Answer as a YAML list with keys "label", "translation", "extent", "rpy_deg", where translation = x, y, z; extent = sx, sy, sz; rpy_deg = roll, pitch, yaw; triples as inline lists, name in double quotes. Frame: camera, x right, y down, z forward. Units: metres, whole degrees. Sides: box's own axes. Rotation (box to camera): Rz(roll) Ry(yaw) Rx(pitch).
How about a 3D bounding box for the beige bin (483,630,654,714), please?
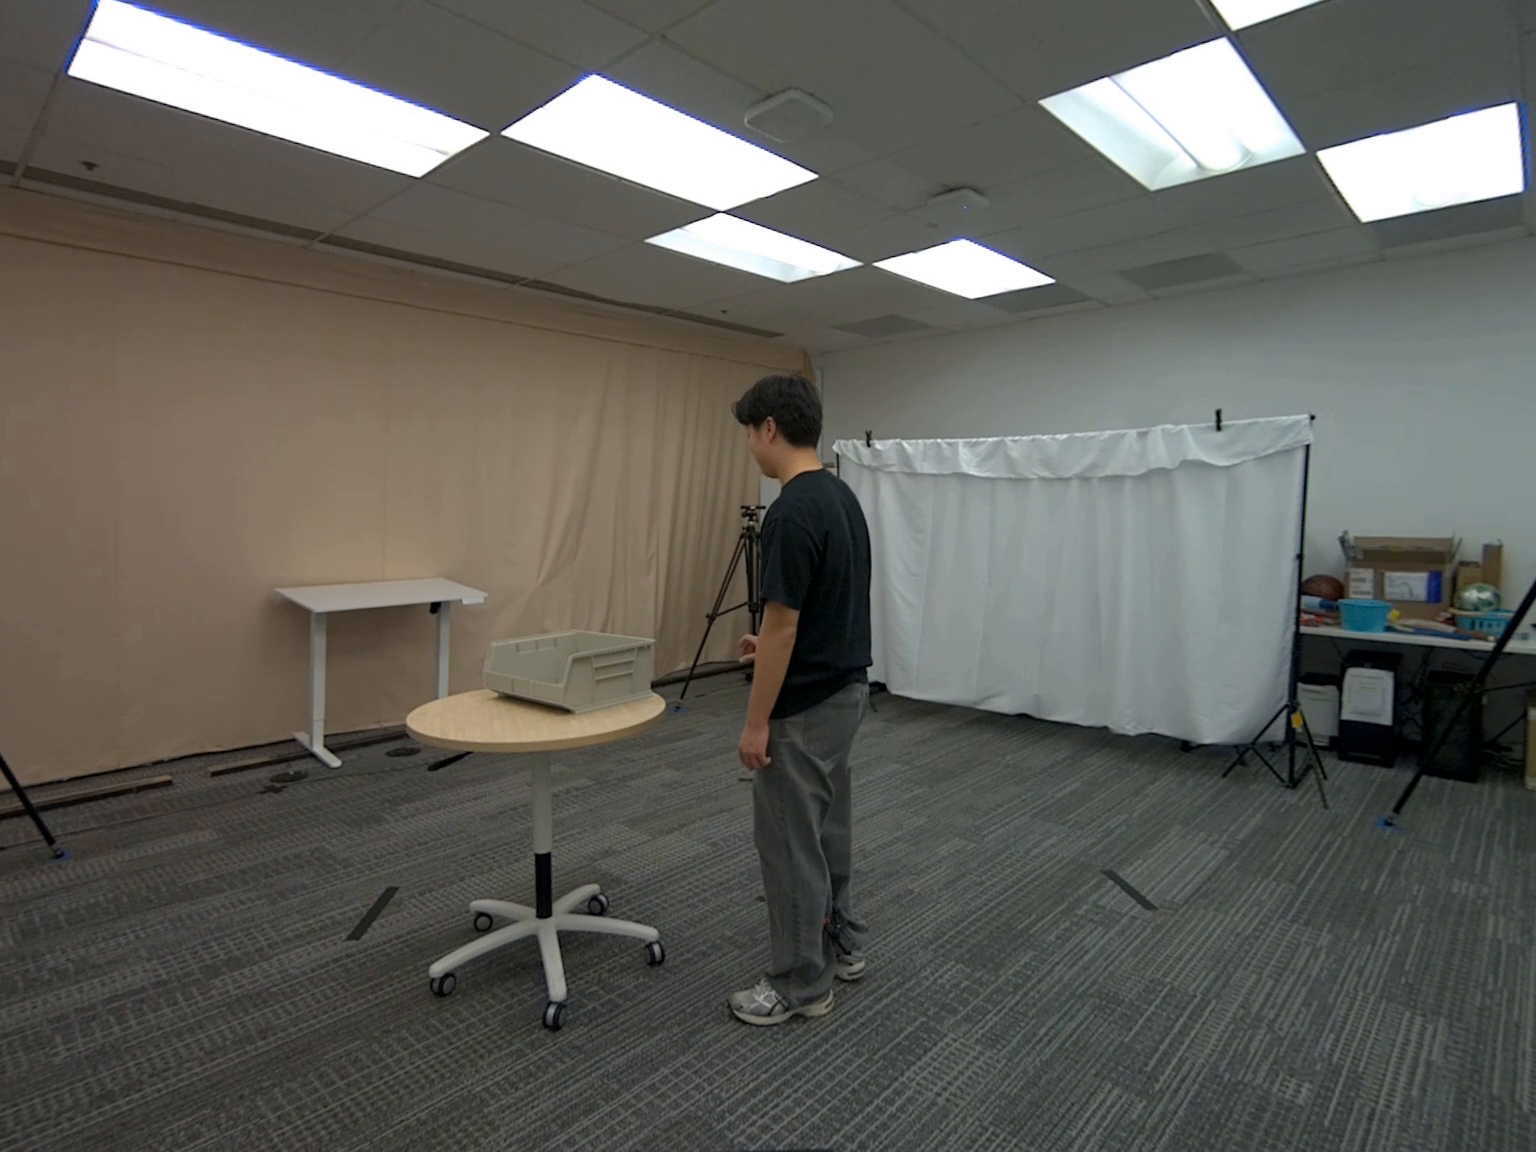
- label: "beige bin"
  translation: [-0.633, 0.302, 2.704]
  extent: [0.436, 0.188, 0.366]
  rpy_deg: [3, 5, 43]
